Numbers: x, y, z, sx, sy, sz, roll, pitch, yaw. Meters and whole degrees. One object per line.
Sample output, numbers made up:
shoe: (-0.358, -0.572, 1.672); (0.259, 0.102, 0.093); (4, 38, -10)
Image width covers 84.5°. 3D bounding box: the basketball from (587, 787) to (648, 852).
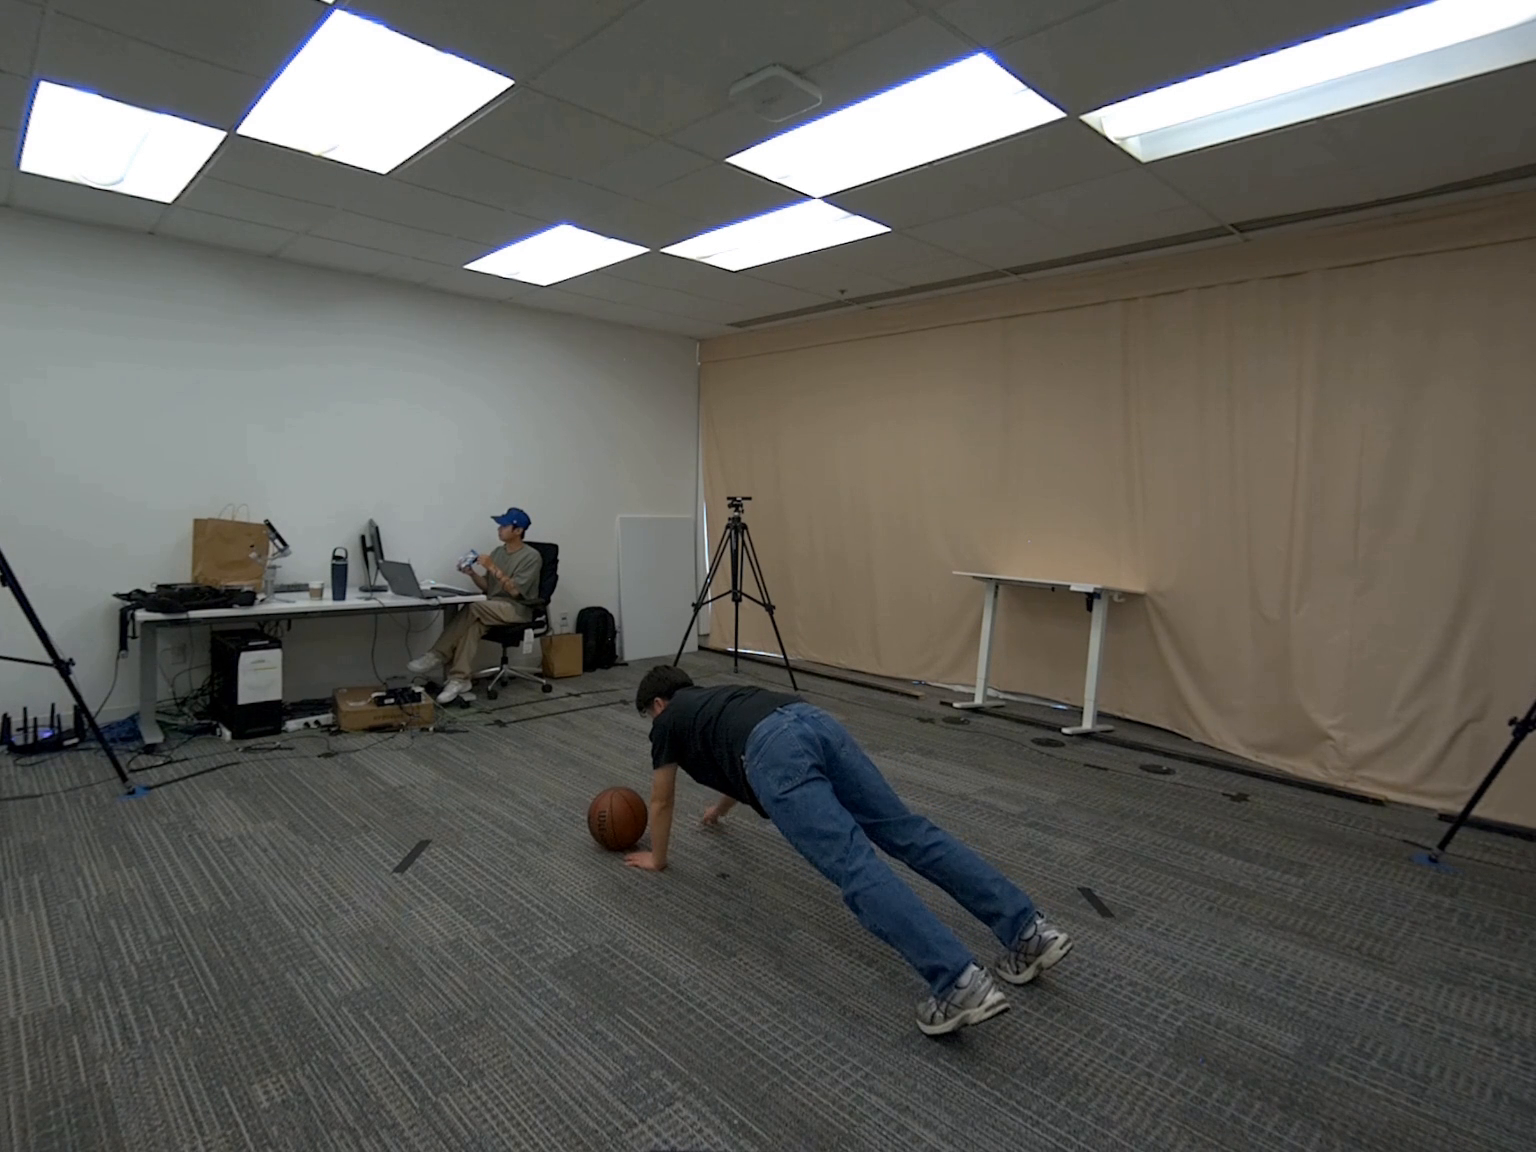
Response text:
basketball: (-0.599, 0.954, 3.330); (0.236, 0.235, 0.237); (1, 4, -1)
